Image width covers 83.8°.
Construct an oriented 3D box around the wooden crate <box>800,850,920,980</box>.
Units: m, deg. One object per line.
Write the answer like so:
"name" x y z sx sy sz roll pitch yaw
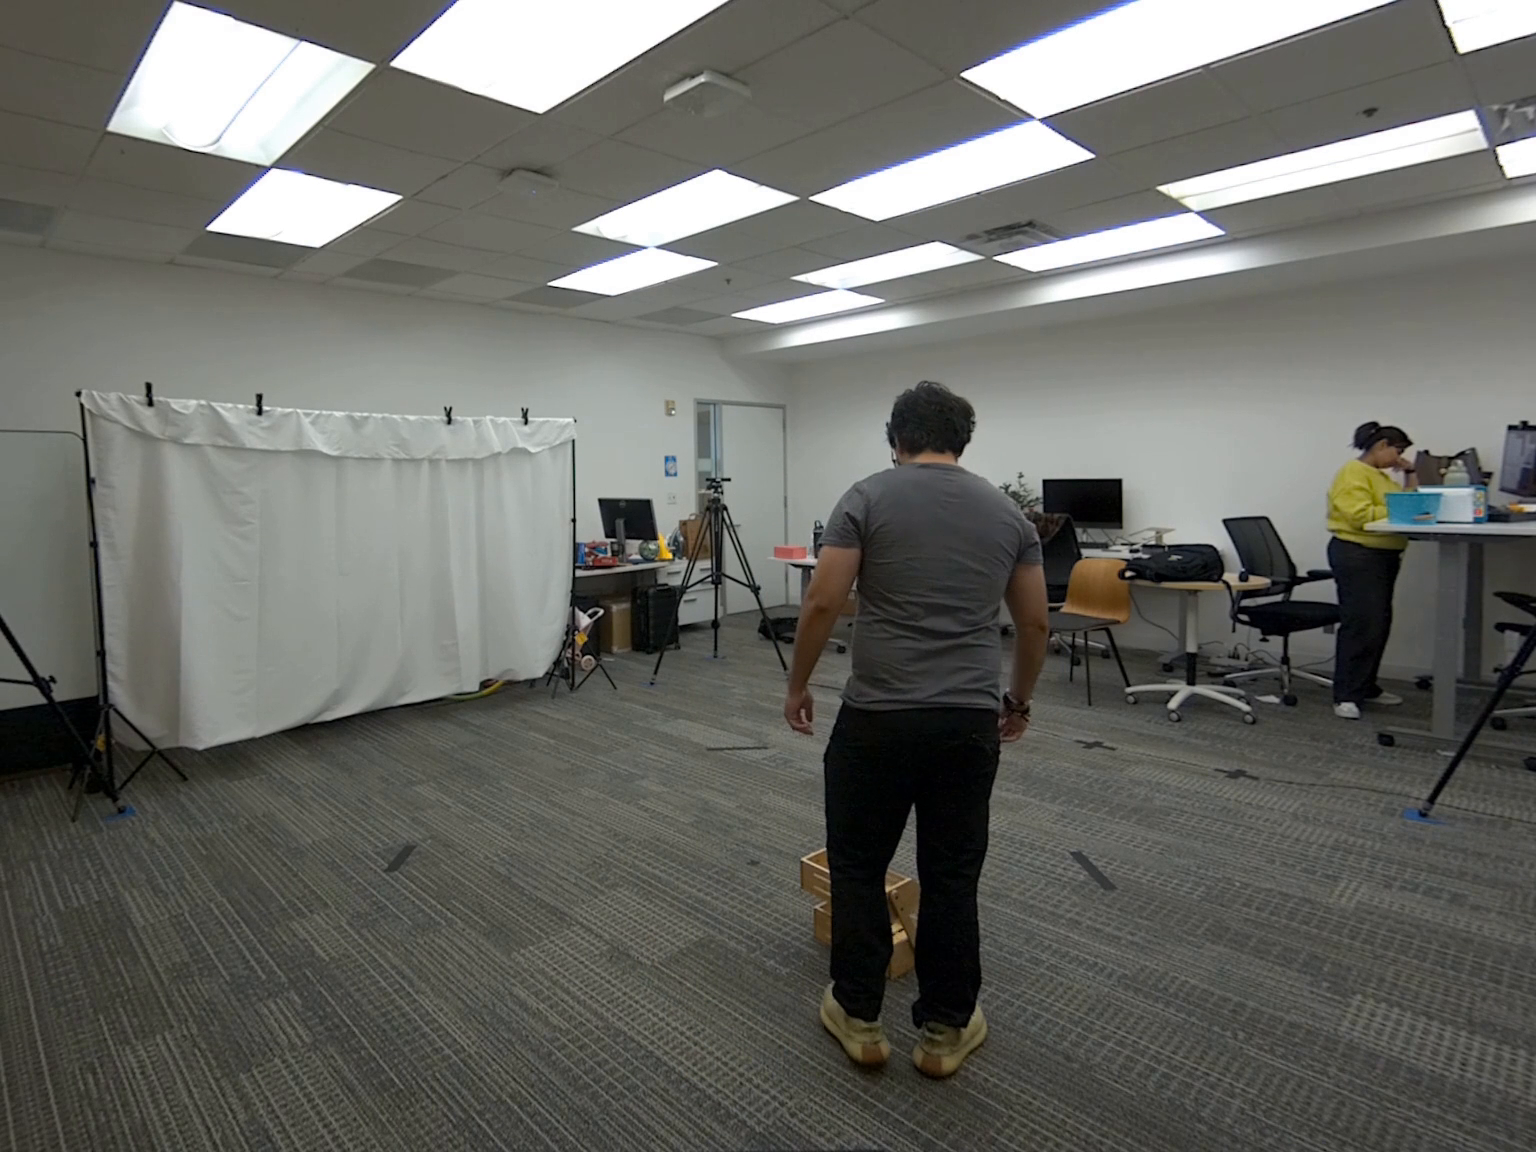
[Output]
"wooden crate" 0.321 0.972 2.532 0.294 0.272 0.334 -6 7 -41
